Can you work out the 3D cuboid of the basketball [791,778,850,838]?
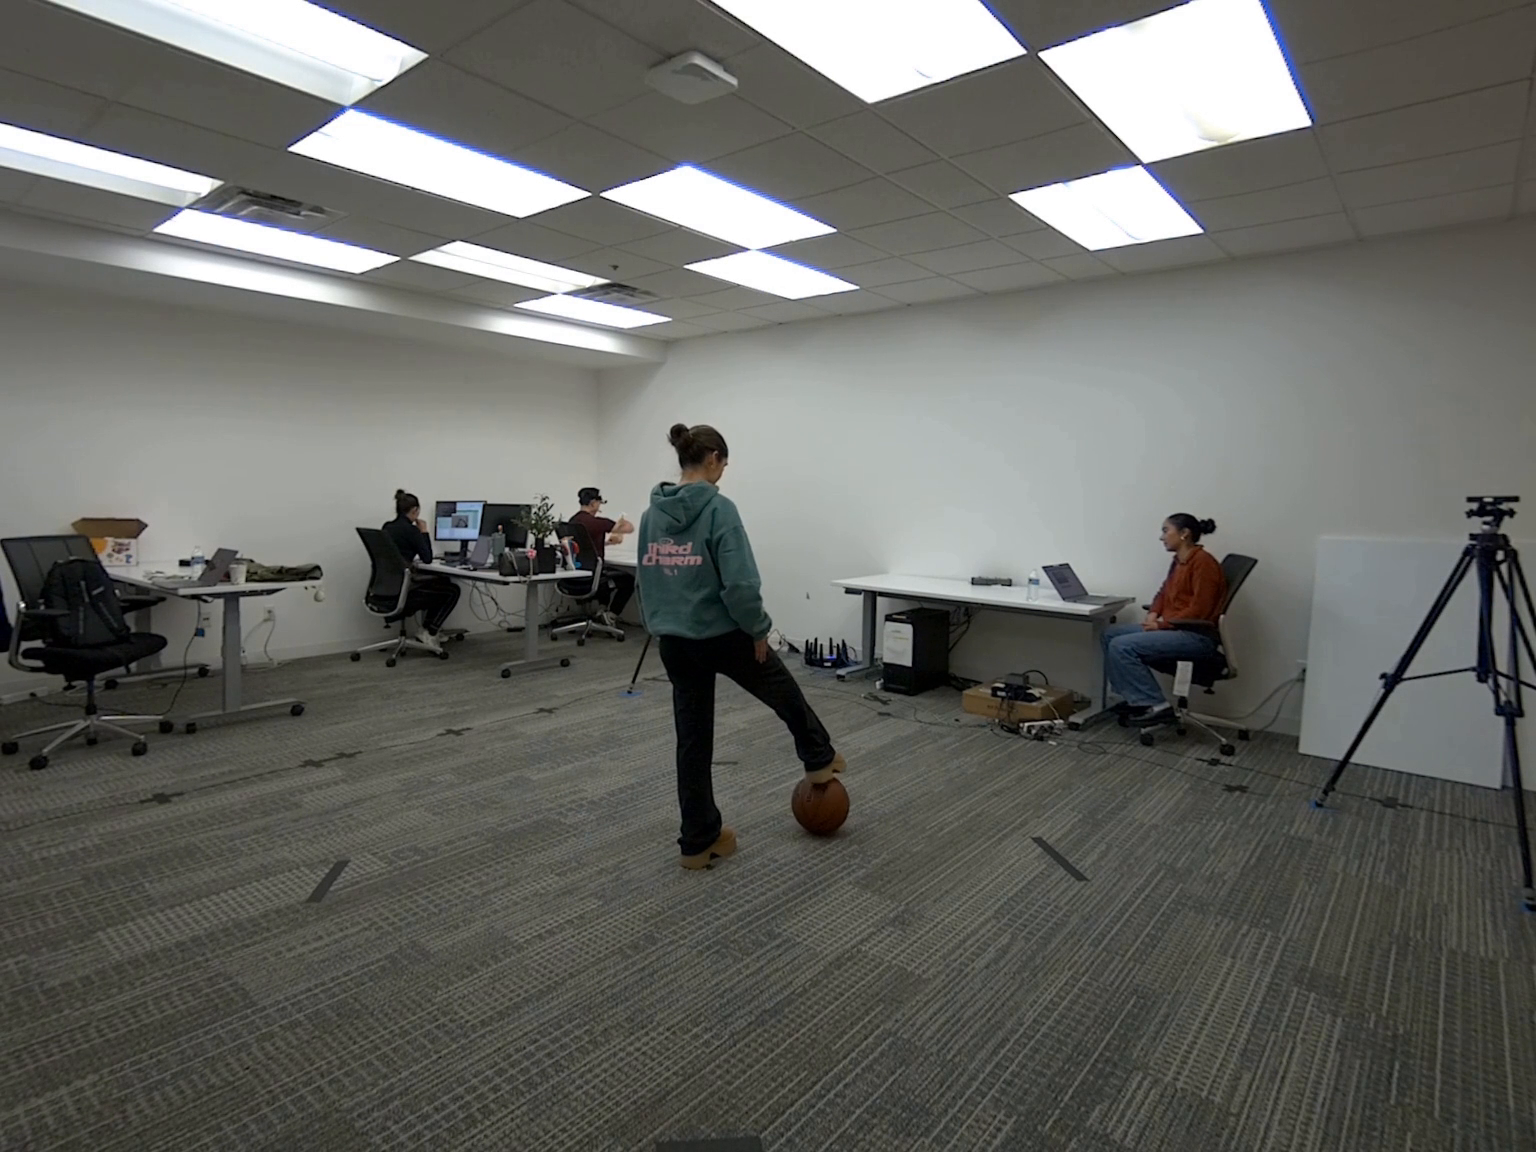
[{"bbox_3d":[0.204,0.922,3.459,0.236,0.235,0.237,1,4,-2],"label":"basketball"}]
